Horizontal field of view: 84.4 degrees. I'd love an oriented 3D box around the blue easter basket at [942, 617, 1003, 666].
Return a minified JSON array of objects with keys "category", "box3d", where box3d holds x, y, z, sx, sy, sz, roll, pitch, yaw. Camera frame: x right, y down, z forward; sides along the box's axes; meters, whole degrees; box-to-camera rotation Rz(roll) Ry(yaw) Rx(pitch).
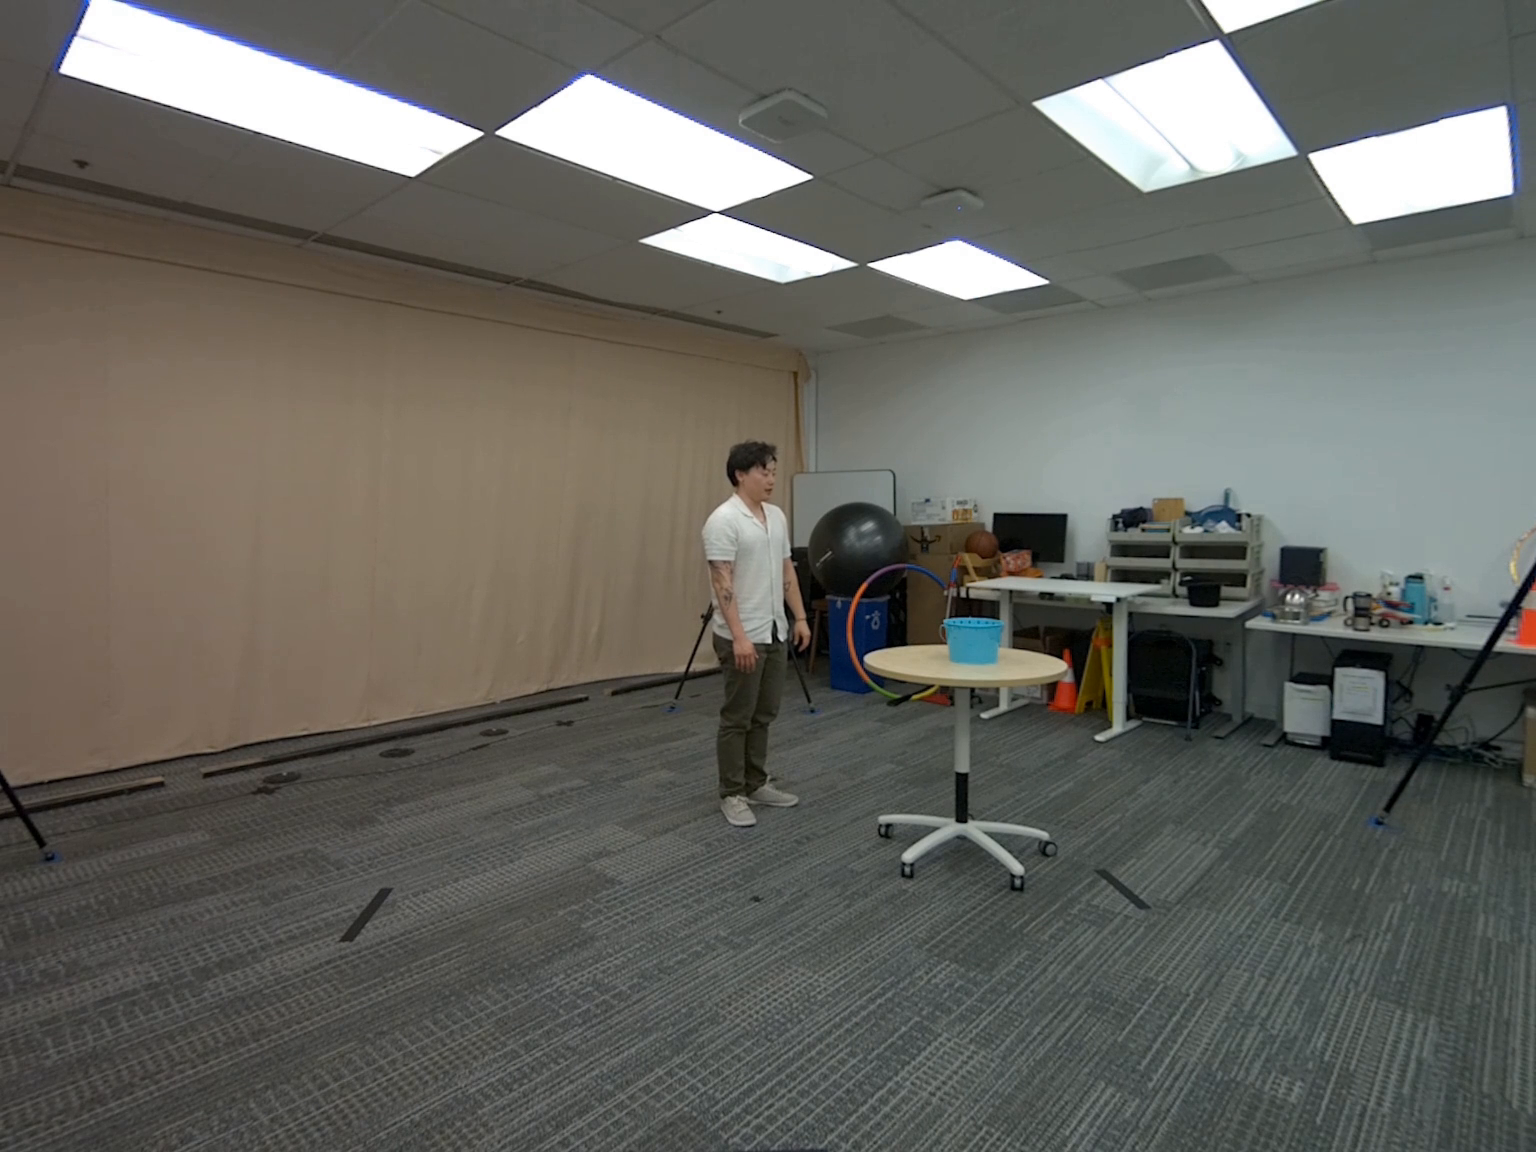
[{"category":"blue easter basket","box3d":[0.820,0.259,3.309,0.243,0.155,0.244,0,4,-2]}]
